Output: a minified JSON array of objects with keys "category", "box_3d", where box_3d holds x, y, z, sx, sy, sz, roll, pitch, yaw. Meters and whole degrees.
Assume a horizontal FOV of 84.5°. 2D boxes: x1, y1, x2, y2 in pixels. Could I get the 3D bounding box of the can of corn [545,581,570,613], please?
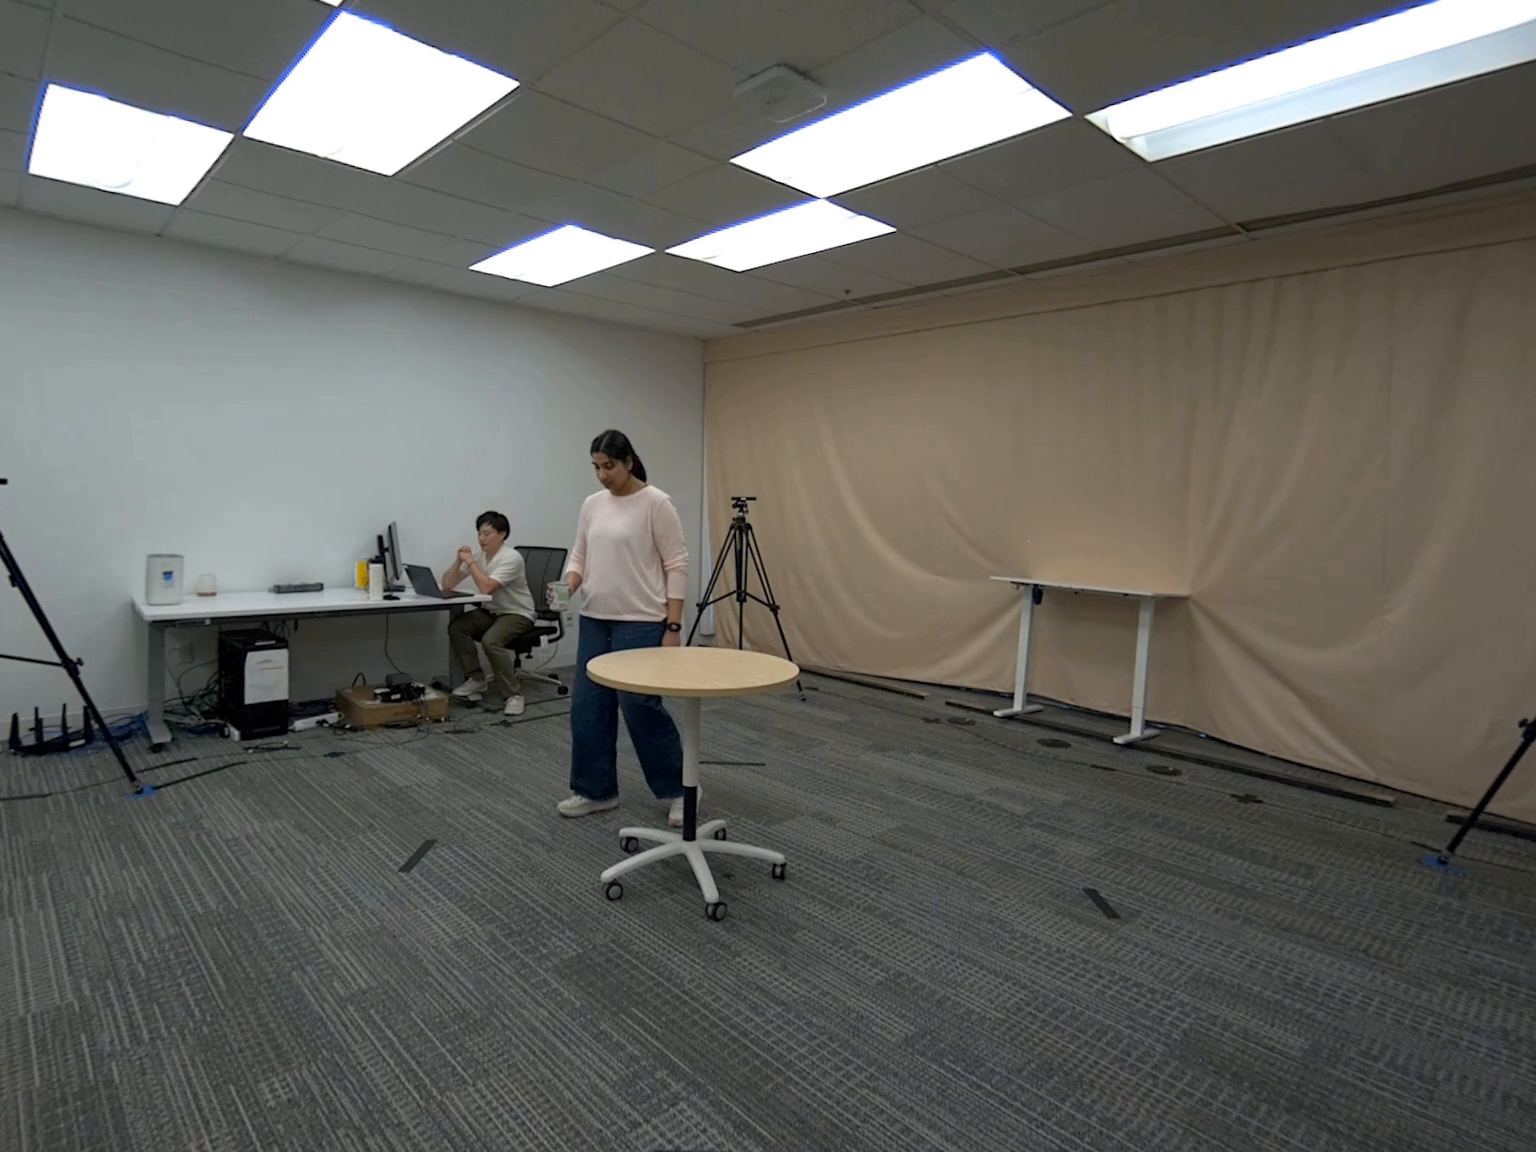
[{"category":"can of corn","box_3d":[-0.869,0.086,3.461,0.074,0.111,0.074,3,5,-2]}]
